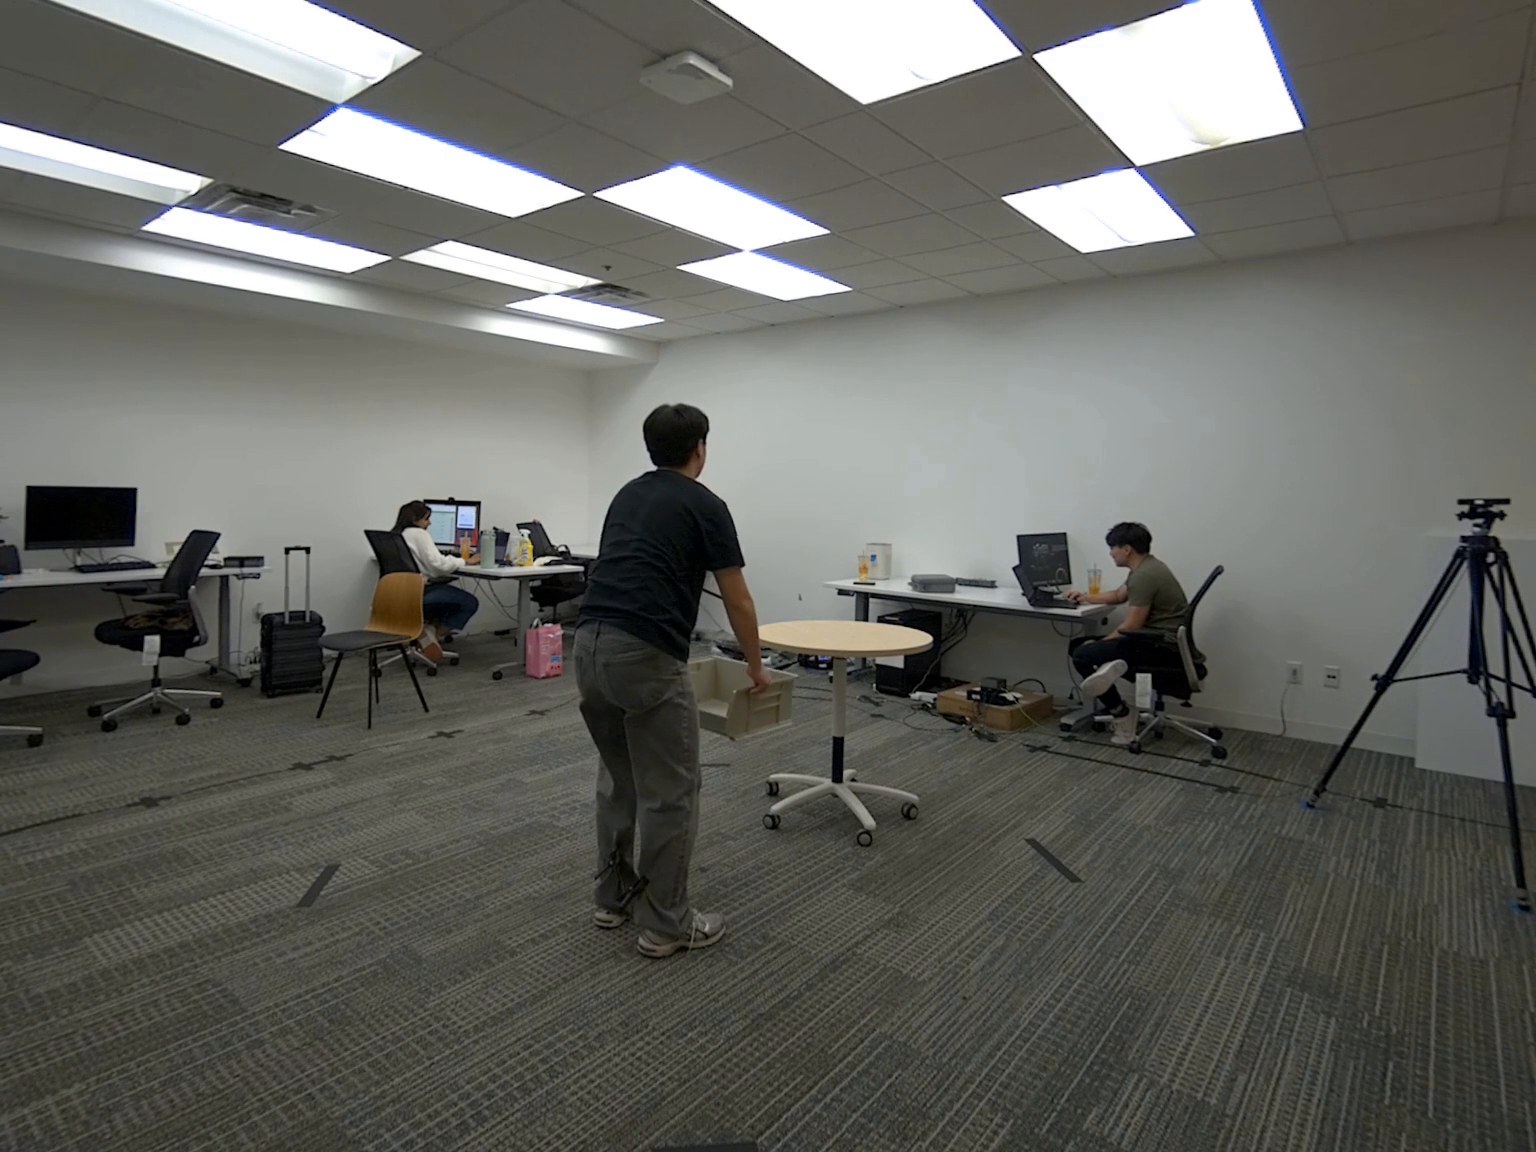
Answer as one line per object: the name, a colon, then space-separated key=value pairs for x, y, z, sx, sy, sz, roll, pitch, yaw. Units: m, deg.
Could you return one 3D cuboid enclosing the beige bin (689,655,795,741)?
beige bin: x=-0.177 y=0.431 z=3.052 sx=0.437 sy=0.188 sz=0.366 roll=6 pitch=6 yaw=40
